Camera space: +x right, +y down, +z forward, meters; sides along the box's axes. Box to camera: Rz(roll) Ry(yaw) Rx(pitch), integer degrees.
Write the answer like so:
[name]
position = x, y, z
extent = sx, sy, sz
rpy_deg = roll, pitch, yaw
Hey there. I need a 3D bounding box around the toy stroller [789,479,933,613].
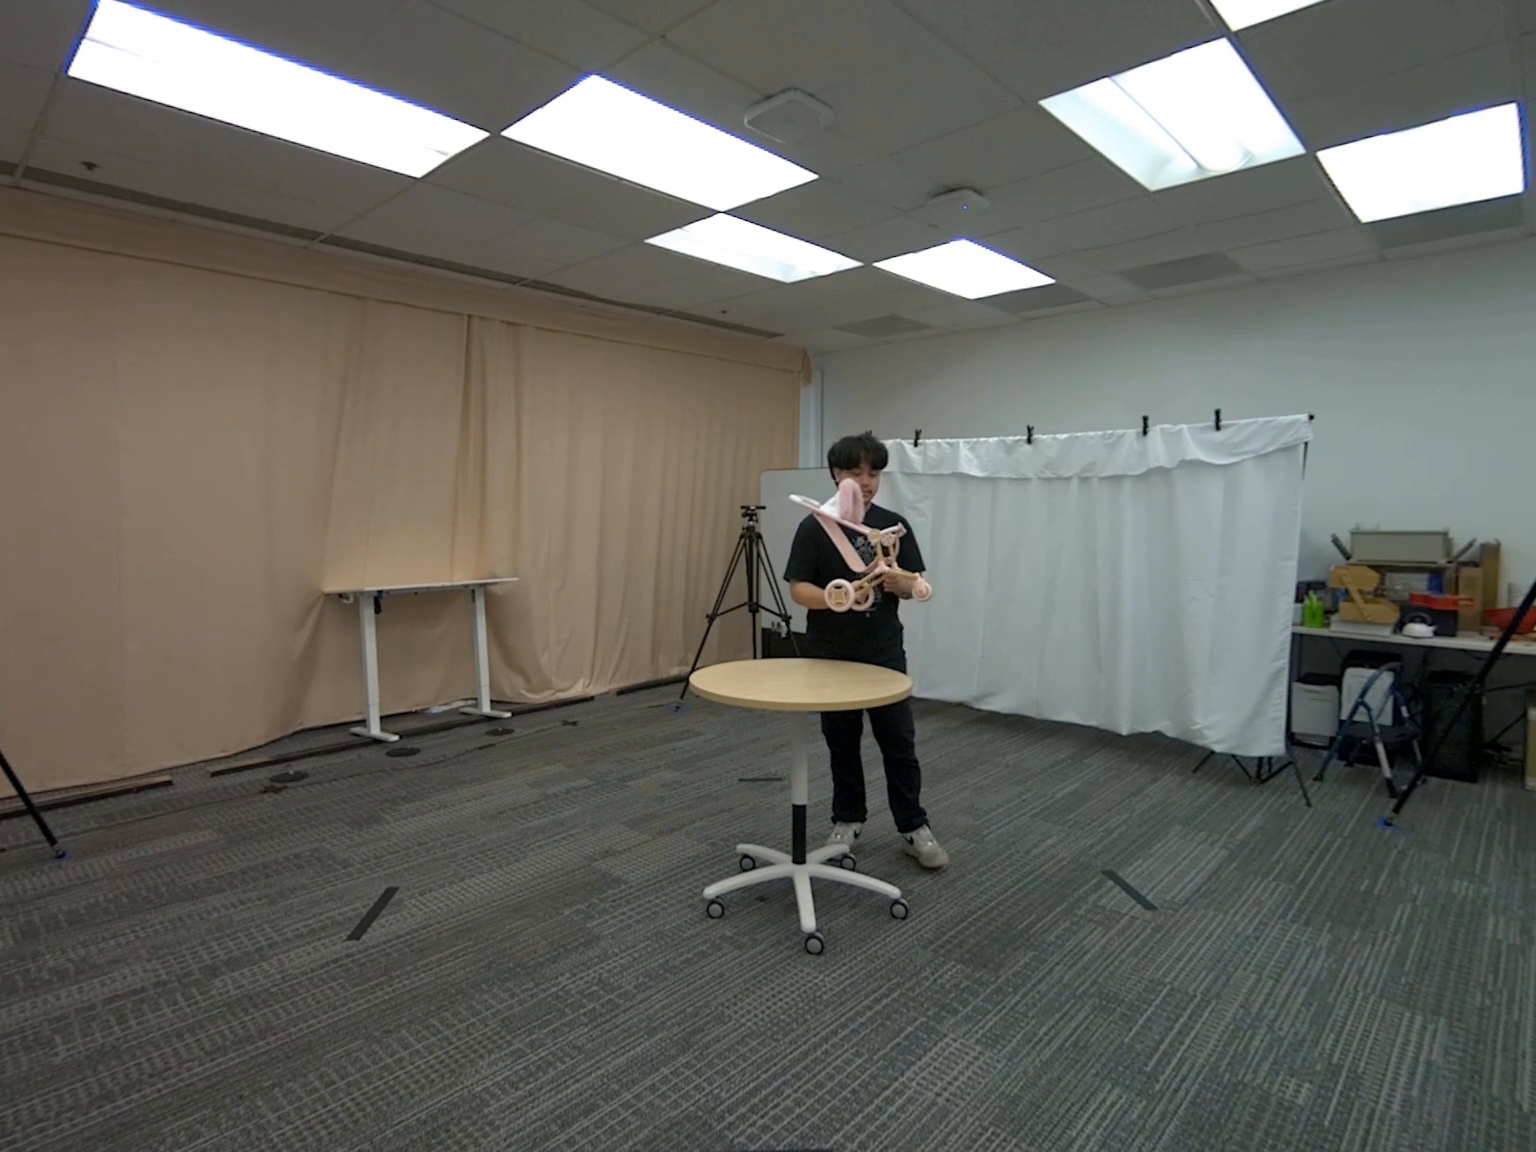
[toy stroller]
position = 0.339, -0.107, 2.989
extent = 0.347, 0.541, 0.273
rpy_deg = -26, -13, 26
